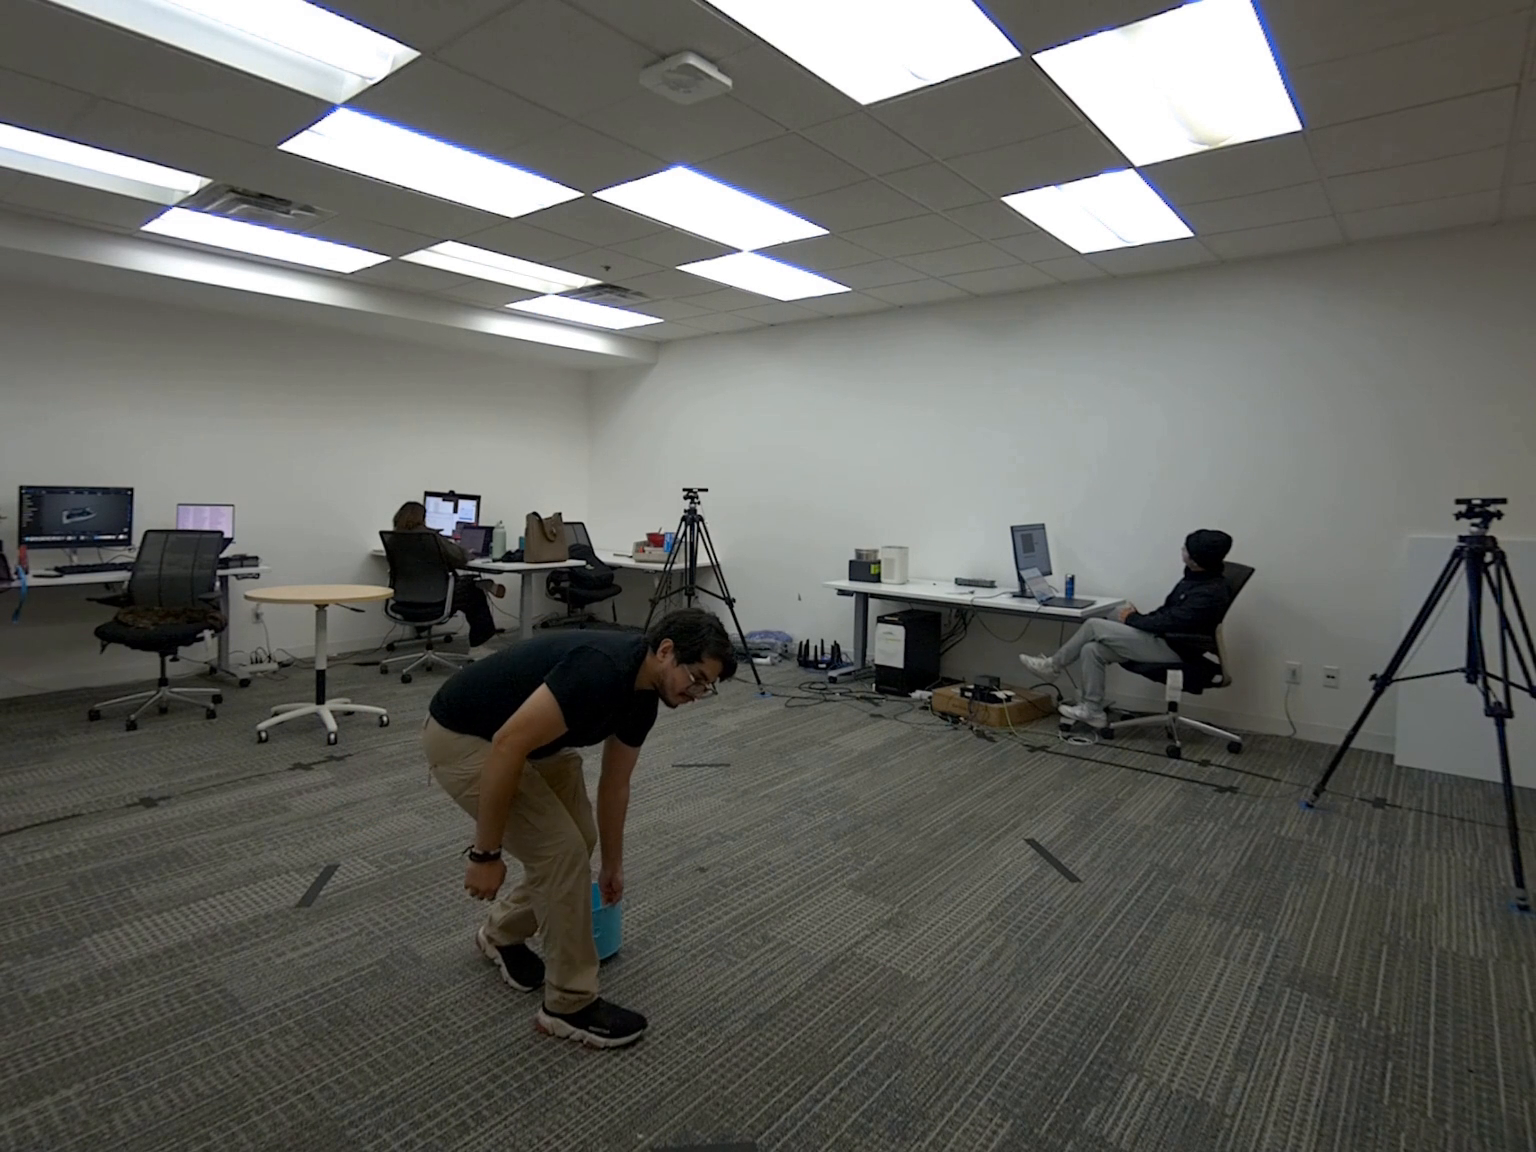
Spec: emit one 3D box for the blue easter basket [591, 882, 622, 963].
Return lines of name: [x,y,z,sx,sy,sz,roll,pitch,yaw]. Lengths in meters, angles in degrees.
blue easter basket: [-0.545,1.031,2.534,0.243,0.156,0.244,-7,2,-2]
